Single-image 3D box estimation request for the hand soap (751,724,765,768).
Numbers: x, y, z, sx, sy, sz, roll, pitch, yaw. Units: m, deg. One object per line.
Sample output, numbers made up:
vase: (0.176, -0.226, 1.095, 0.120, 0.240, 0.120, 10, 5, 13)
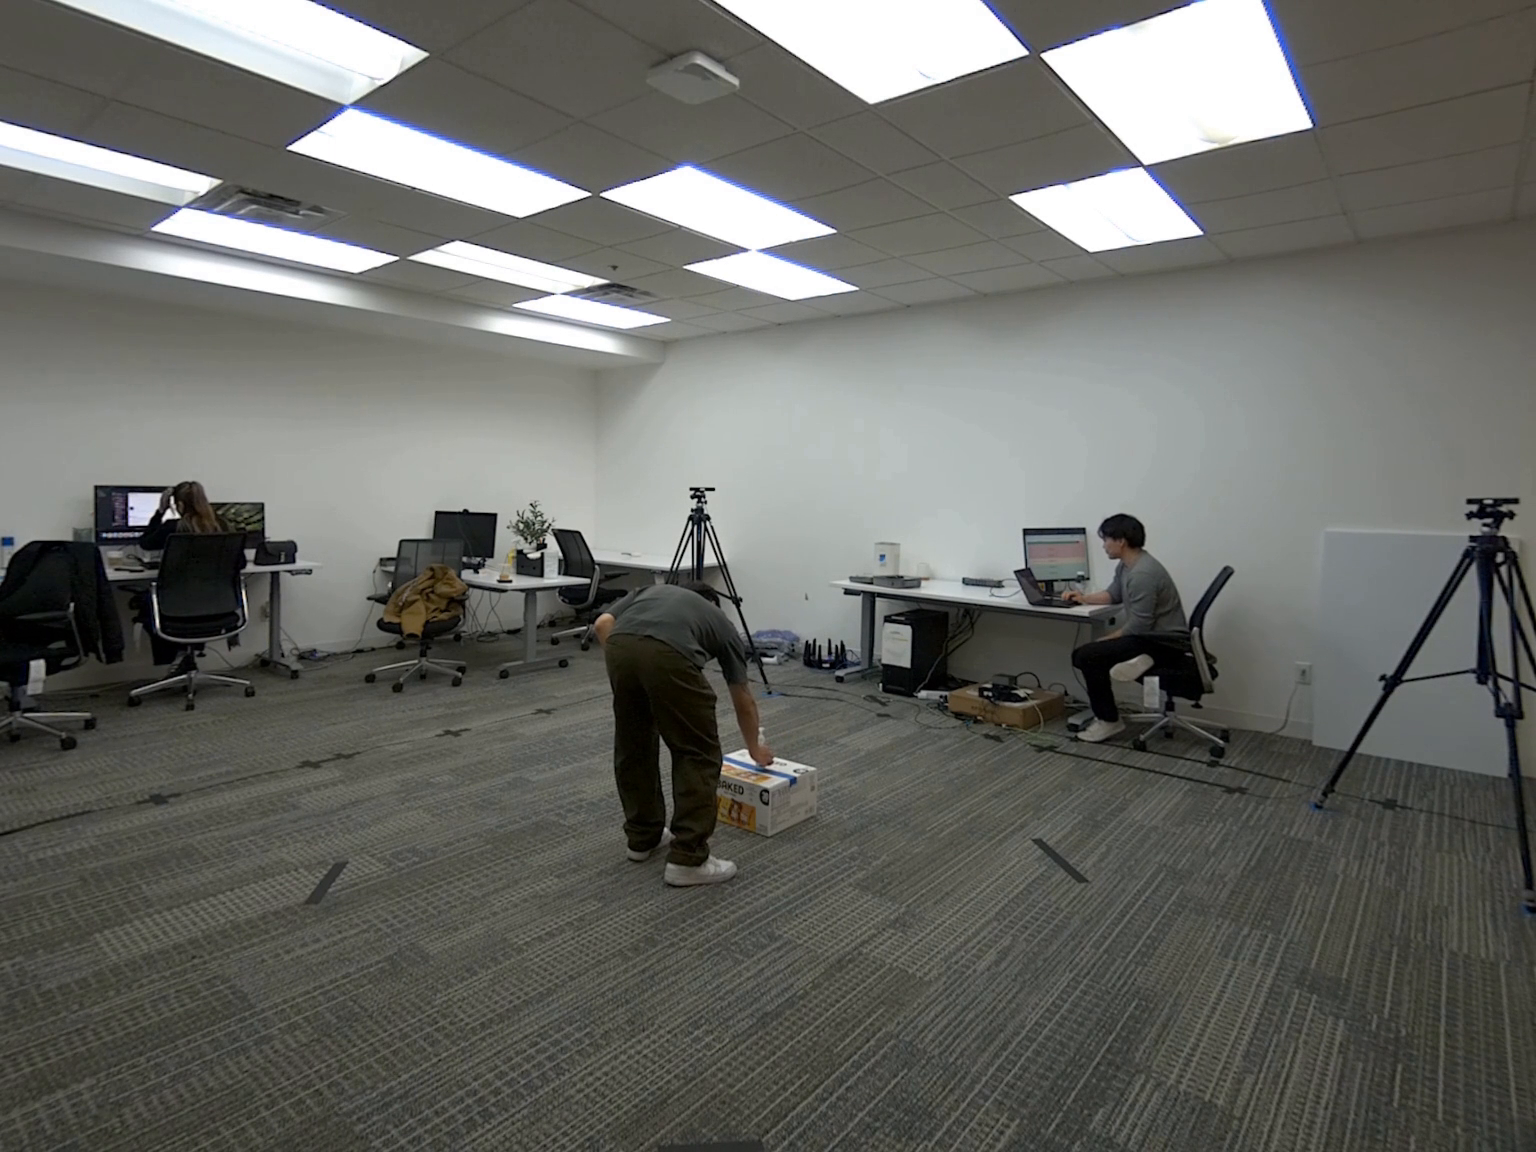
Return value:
hand soap: (-0.044, 0.730, 3.630, 0.043, 0.168, 0.084, 4, -2, 0)
